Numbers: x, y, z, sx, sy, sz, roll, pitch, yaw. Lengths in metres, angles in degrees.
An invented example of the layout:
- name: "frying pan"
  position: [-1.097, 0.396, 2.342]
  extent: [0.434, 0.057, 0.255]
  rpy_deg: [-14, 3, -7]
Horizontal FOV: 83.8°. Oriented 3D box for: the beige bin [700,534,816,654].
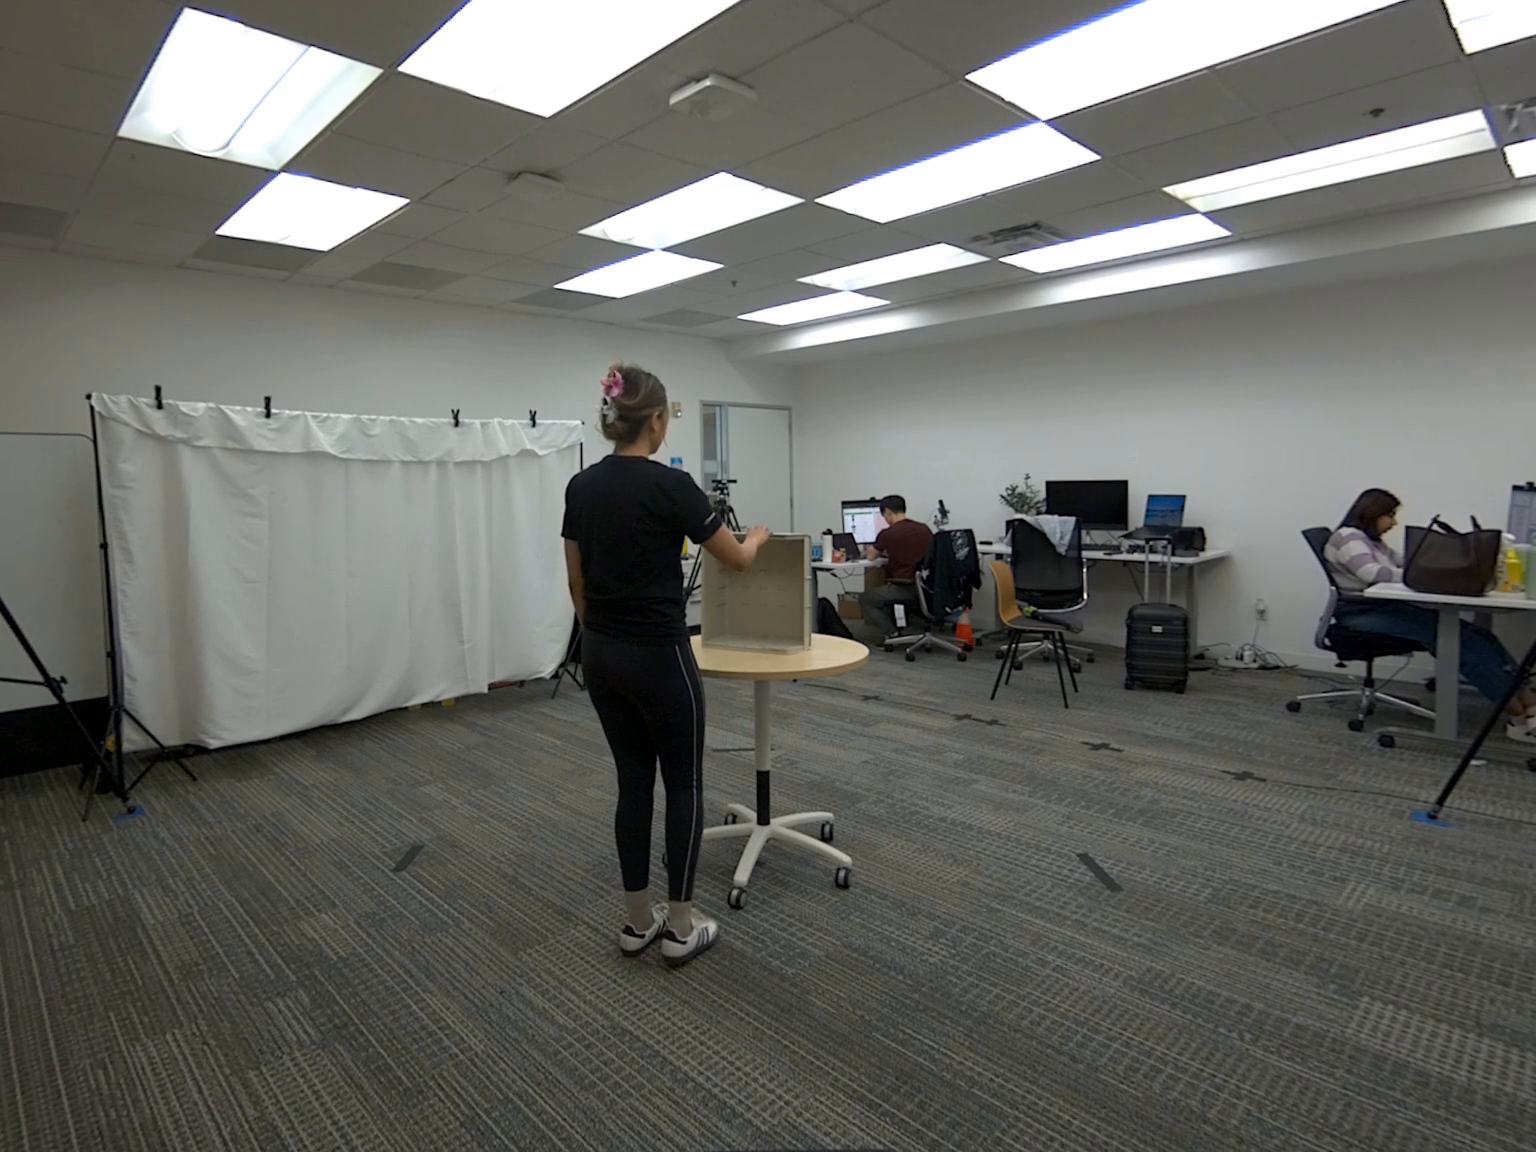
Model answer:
- name: "beige bin"
  position: [-0.032, 0.052, 3.119]
  extent: [0.387, 0.421, 0.185]
  rpy_deg: [2, 3, 28]
